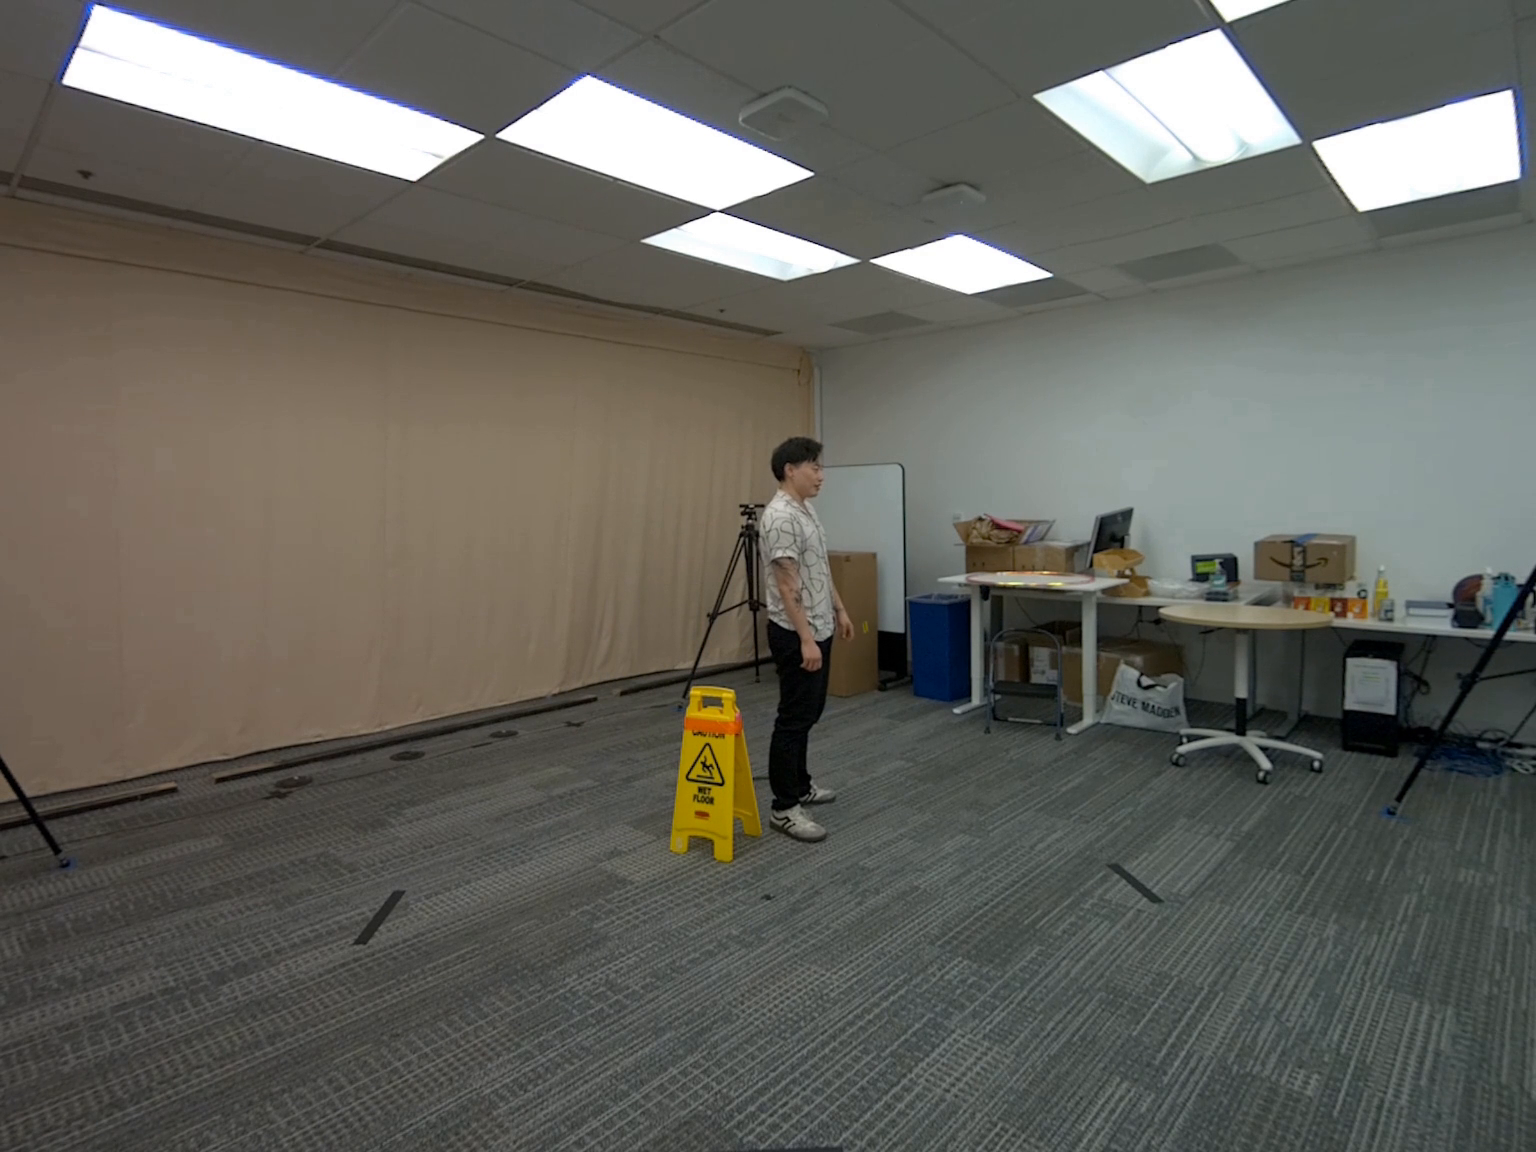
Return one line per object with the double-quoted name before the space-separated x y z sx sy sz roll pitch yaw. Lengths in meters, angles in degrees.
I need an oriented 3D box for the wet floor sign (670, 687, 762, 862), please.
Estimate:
"wet floor sign" -0.217 0.779 3.454 0.289 0.645 0.283 -1 4 26
